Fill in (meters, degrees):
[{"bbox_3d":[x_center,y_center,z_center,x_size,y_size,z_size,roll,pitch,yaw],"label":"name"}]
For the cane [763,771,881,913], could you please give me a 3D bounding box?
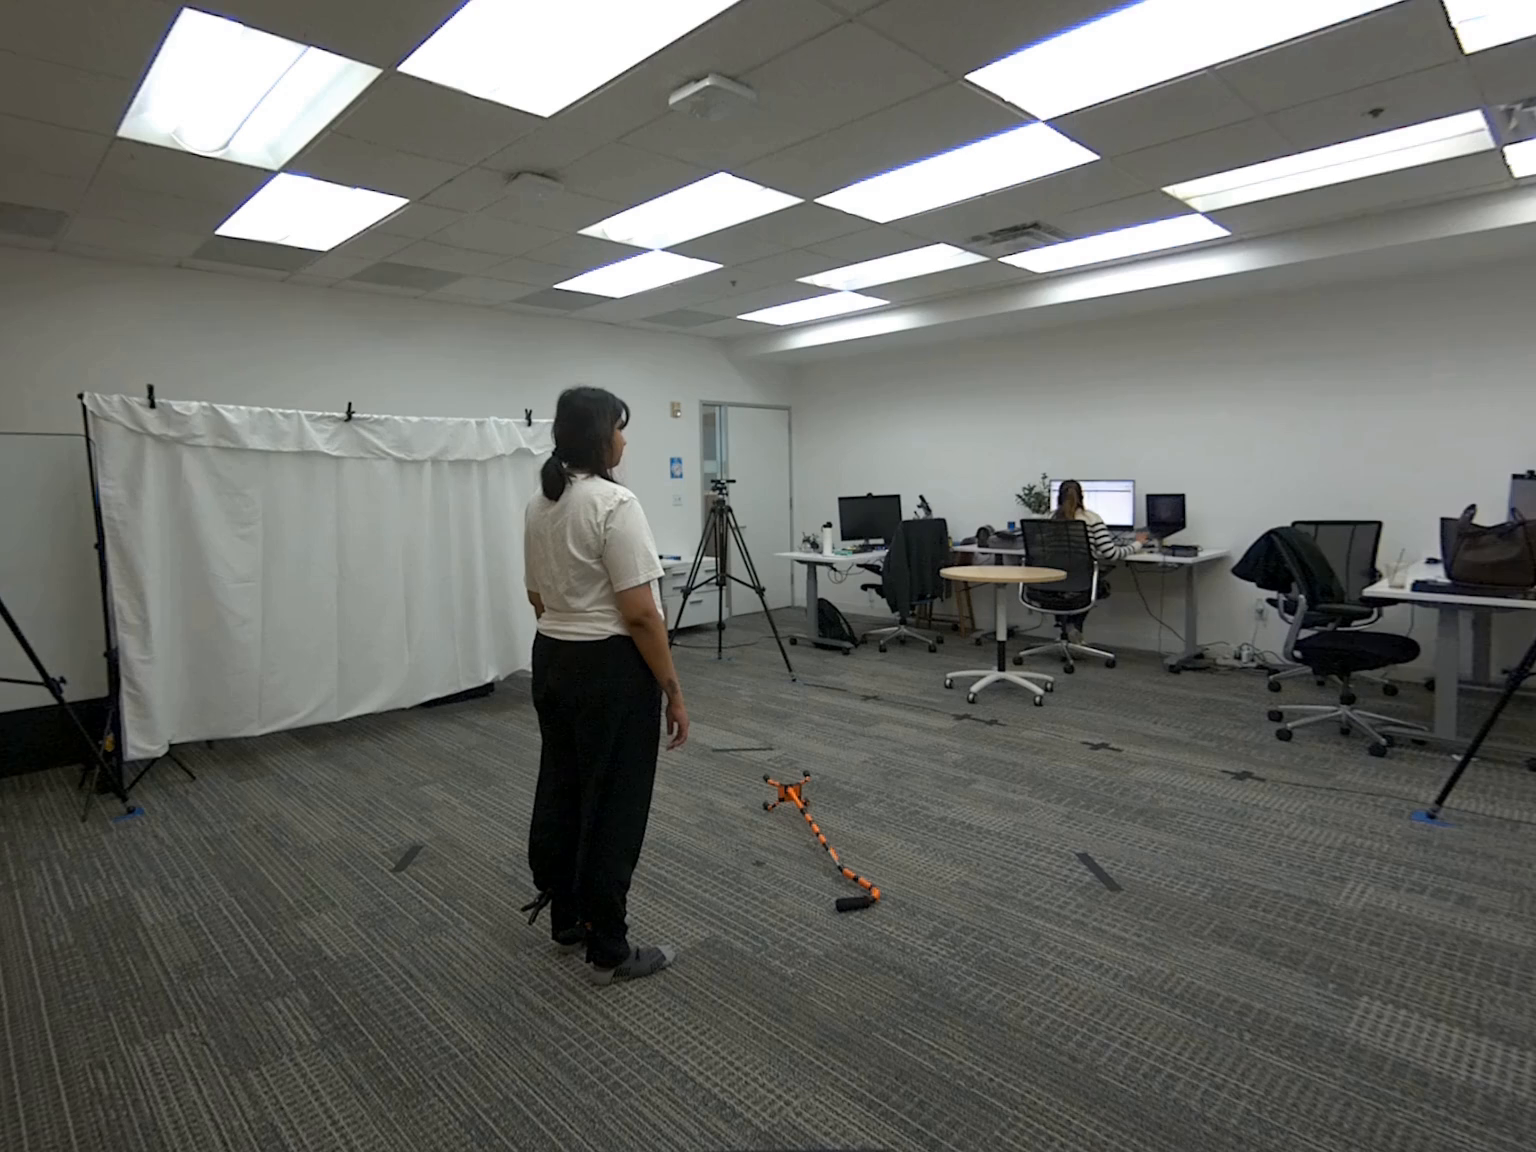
[{"bbox_3d":[0.196,0.985,3.206,0.204,0.150,0.926,-1,11,-14],"label":"cane"}]
